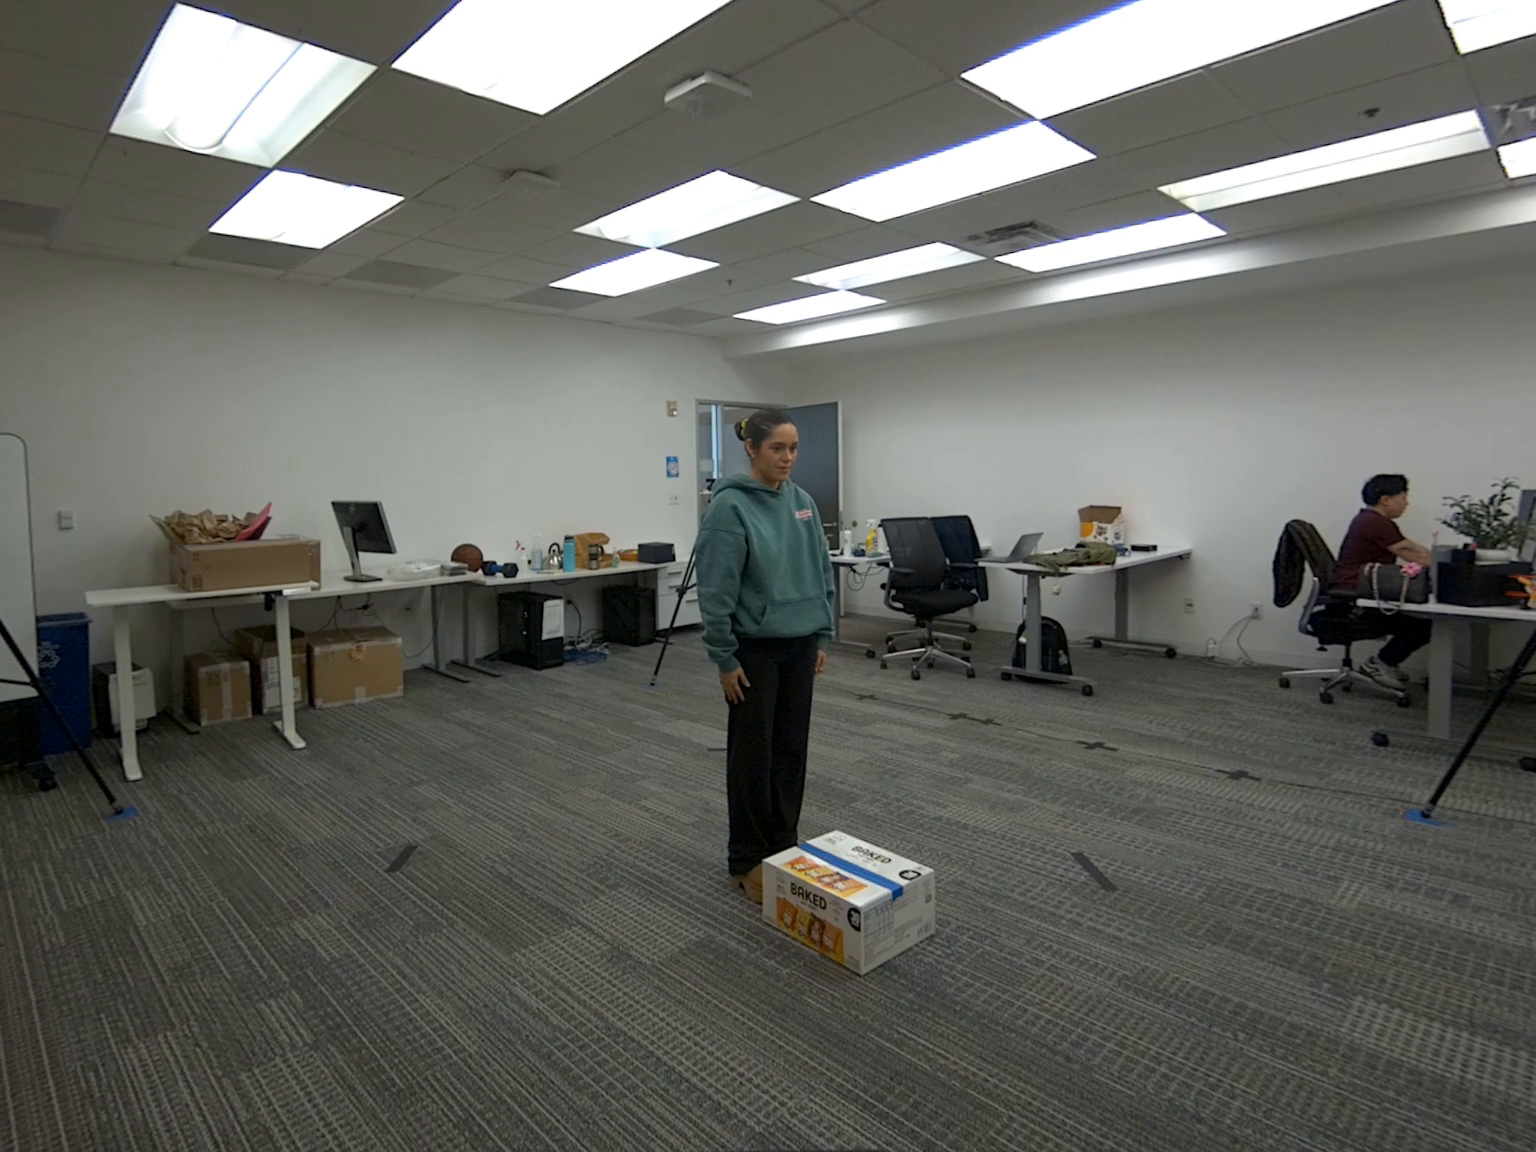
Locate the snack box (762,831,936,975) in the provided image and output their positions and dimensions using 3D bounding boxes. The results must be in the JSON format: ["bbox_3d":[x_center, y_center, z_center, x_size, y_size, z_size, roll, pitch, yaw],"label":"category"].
[{"bbox_3d":[0.253,0.994,2.634,0.331,0.205,0.418,-7,8,-41],"label":"snack box"}]
